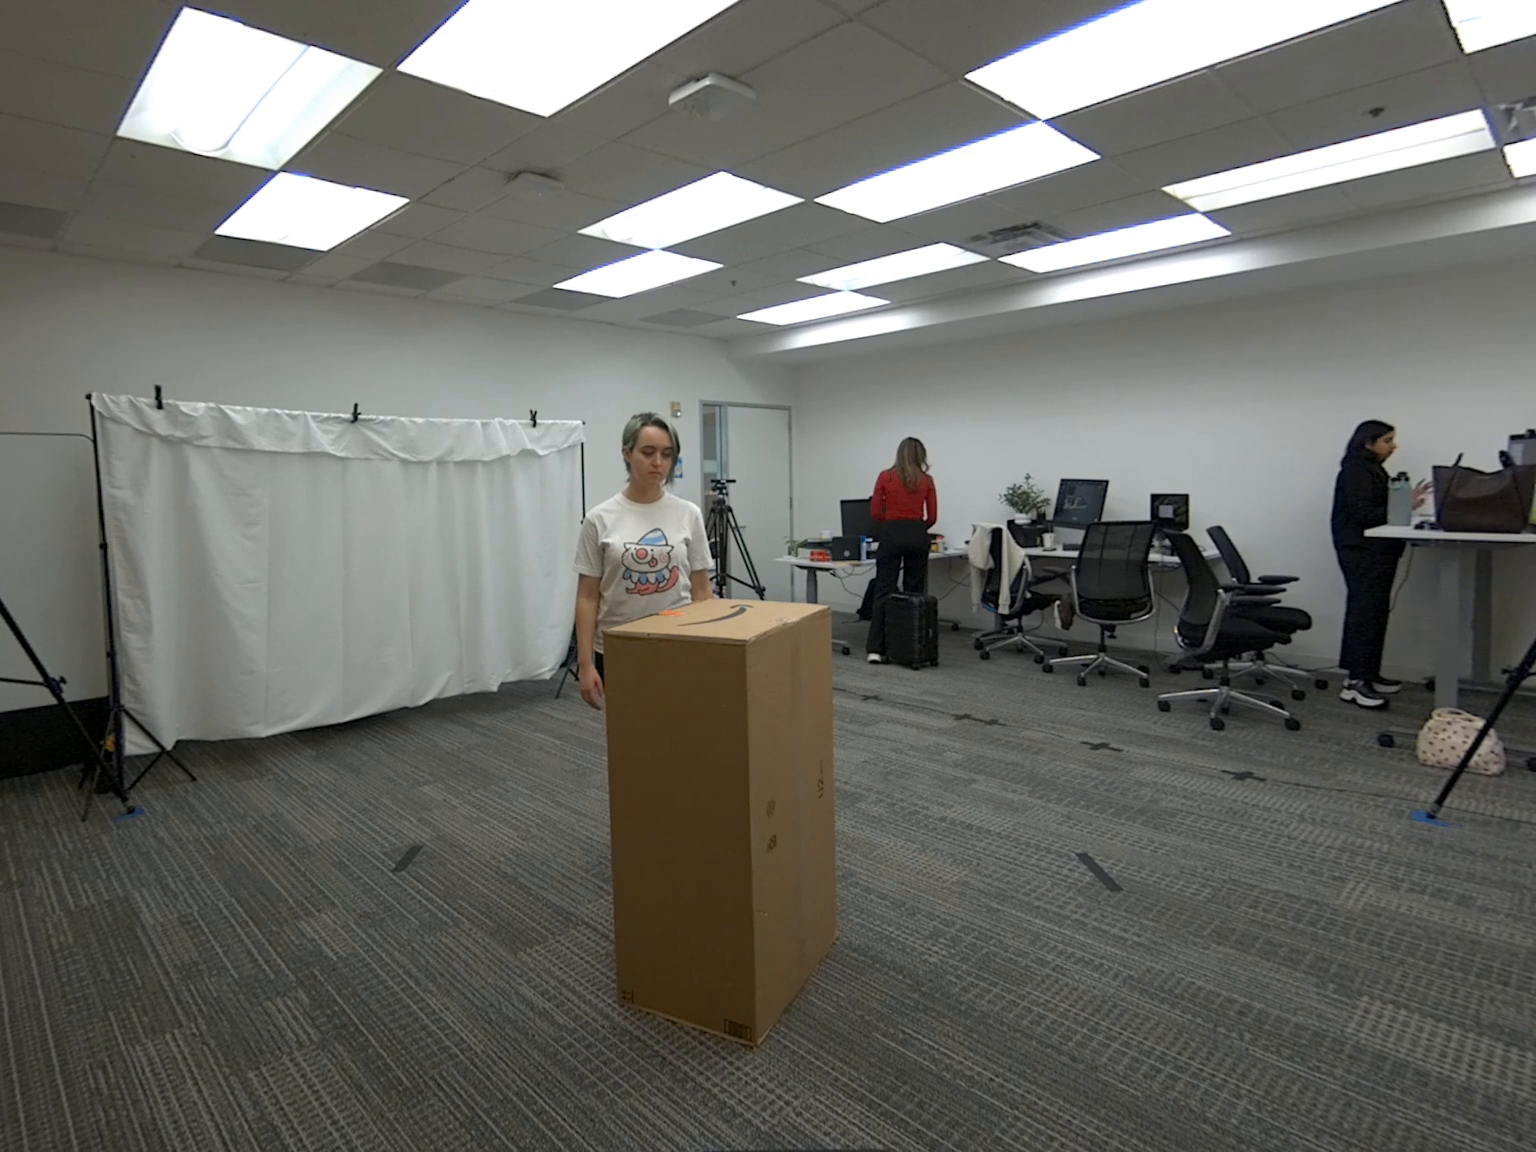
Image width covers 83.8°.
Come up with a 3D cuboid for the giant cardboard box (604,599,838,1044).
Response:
[{"bbox_3d":[-0.108,0.621,2.411,0.437,1.022,0.566,1,5,27],"label":"giant cardboard box"}]
